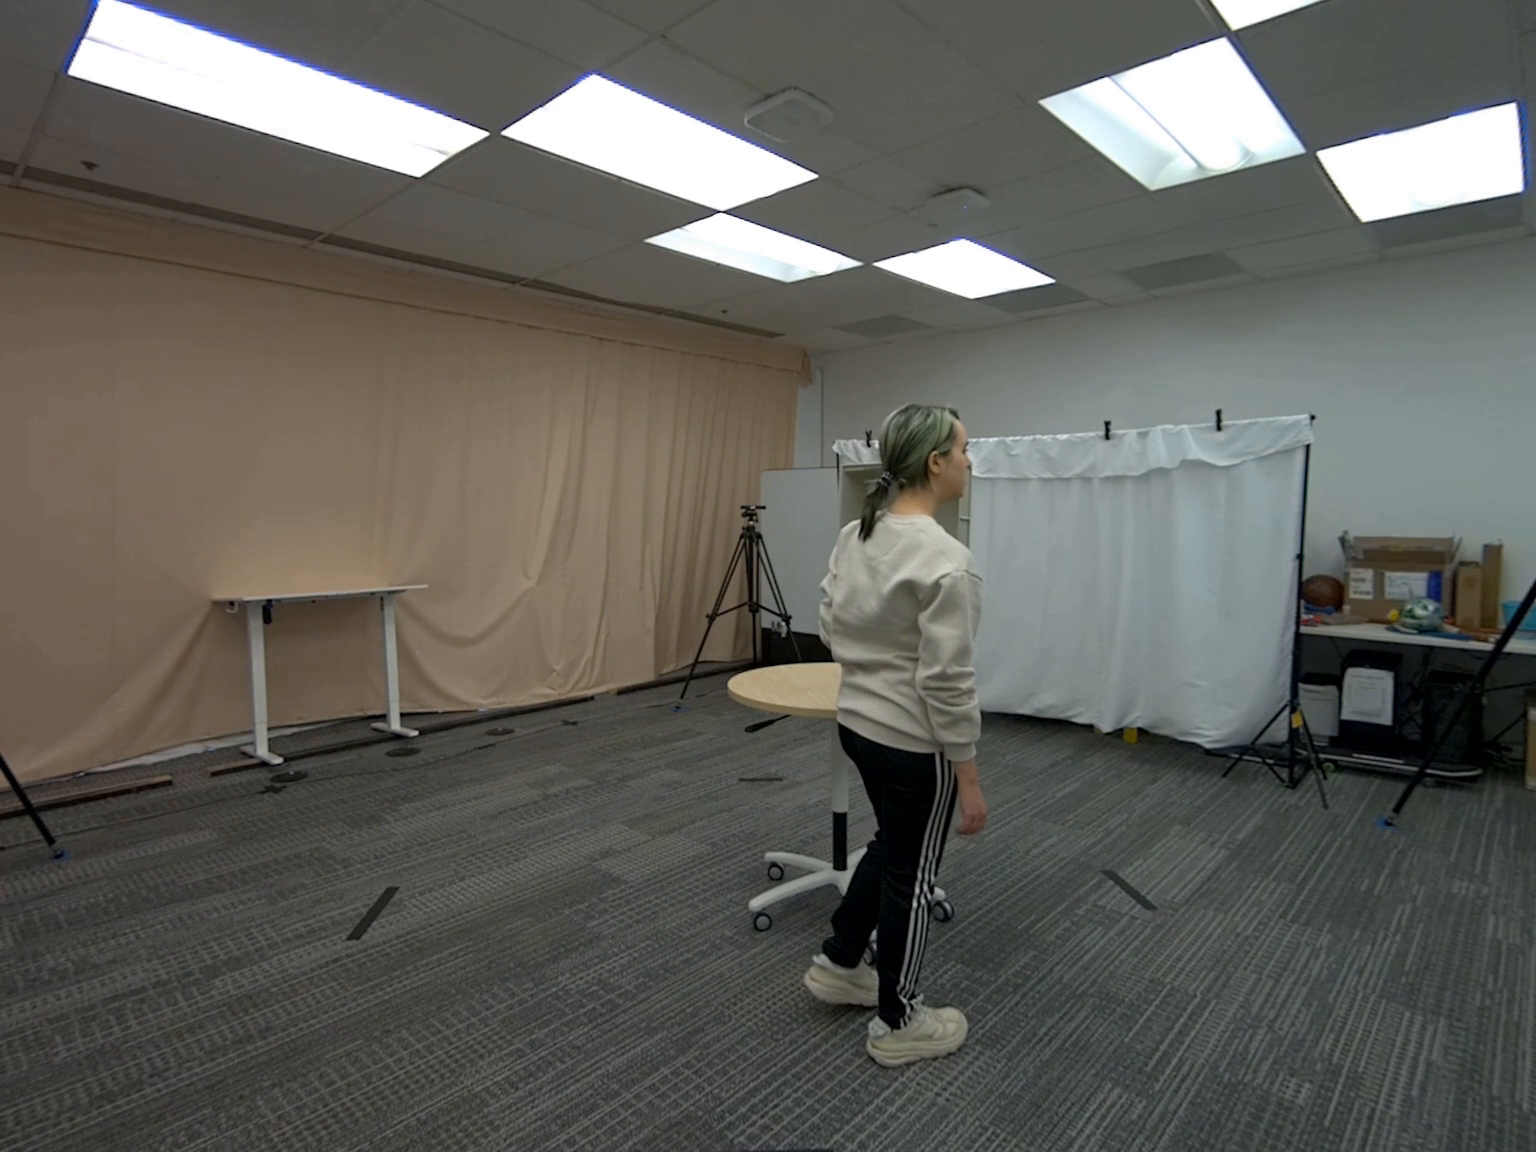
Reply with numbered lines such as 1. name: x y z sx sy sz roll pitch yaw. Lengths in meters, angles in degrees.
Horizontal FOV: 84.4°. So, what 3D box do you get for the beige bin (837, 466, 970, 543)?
1. beige bin: 0.419 -0.128 2.525 0.183 0.422 0.390 2 0 -44
